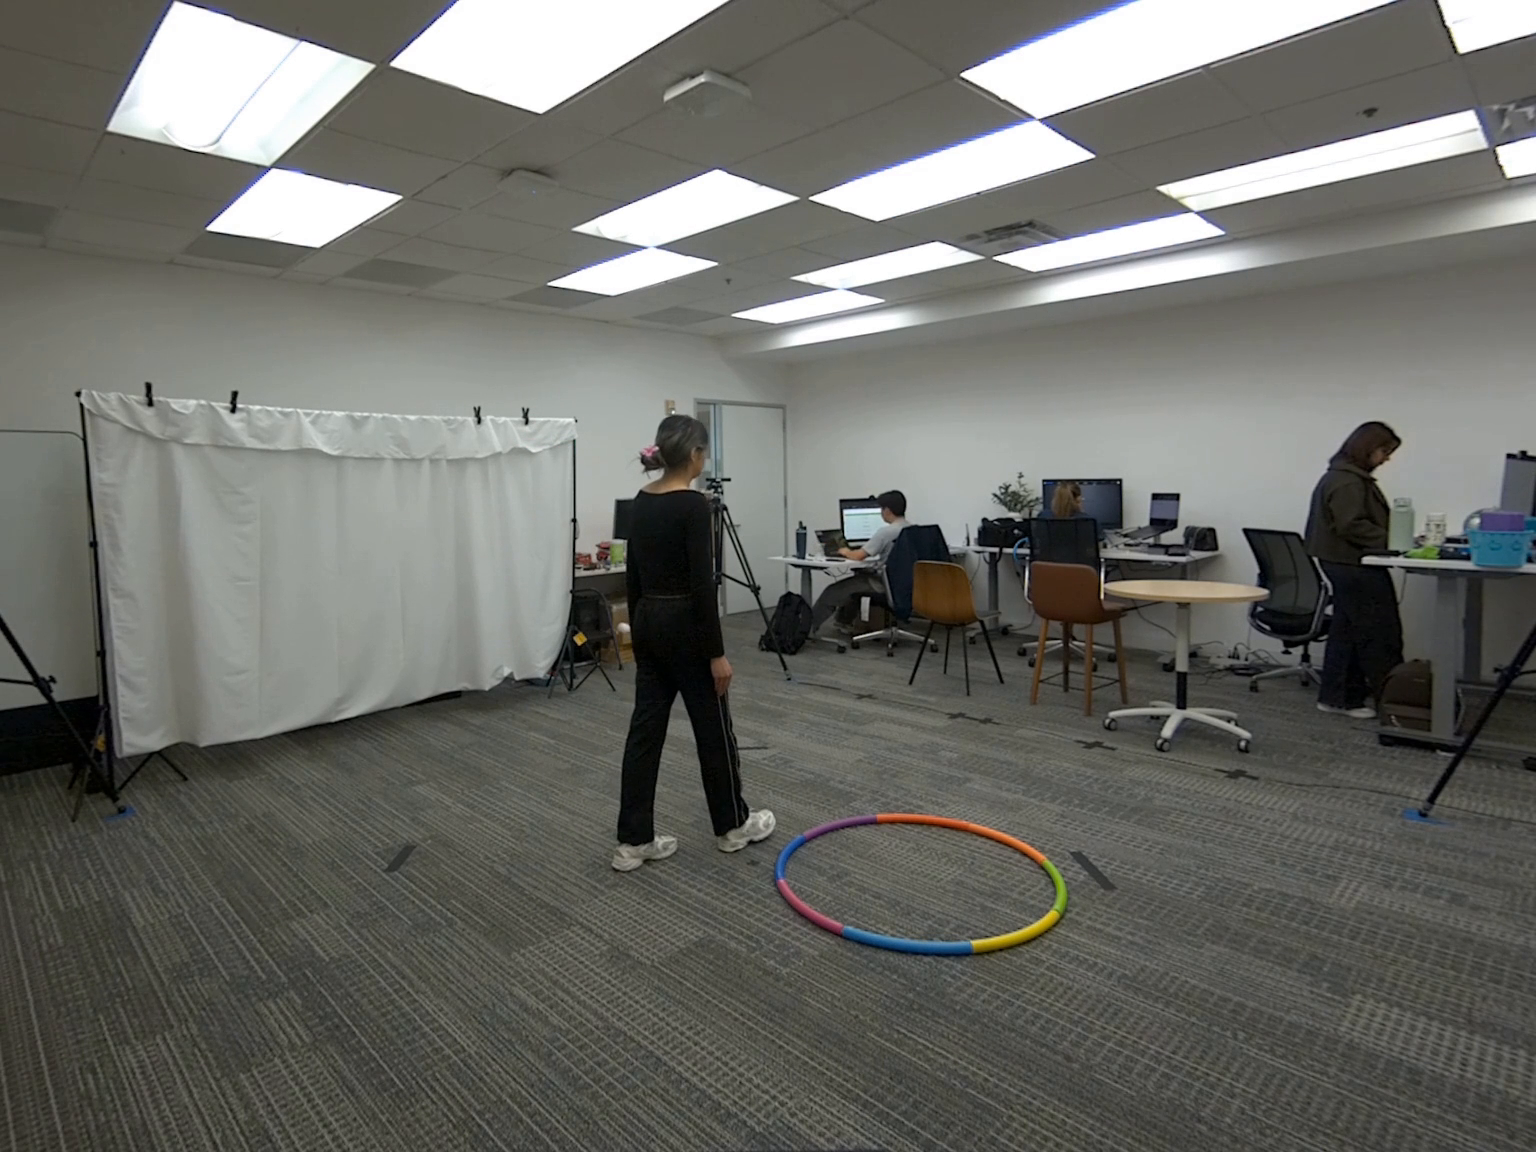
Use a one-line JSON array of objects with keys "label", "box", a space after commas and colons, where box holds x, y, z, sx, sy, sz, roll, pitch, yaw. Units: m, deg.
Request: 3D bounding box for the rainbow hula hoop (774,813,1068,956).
[{"label": "rainbow hula hoop", "box": [0.509, 1.017, 2.968, 0.978, 0.035, 0.984, -2, 7, -2]}]
